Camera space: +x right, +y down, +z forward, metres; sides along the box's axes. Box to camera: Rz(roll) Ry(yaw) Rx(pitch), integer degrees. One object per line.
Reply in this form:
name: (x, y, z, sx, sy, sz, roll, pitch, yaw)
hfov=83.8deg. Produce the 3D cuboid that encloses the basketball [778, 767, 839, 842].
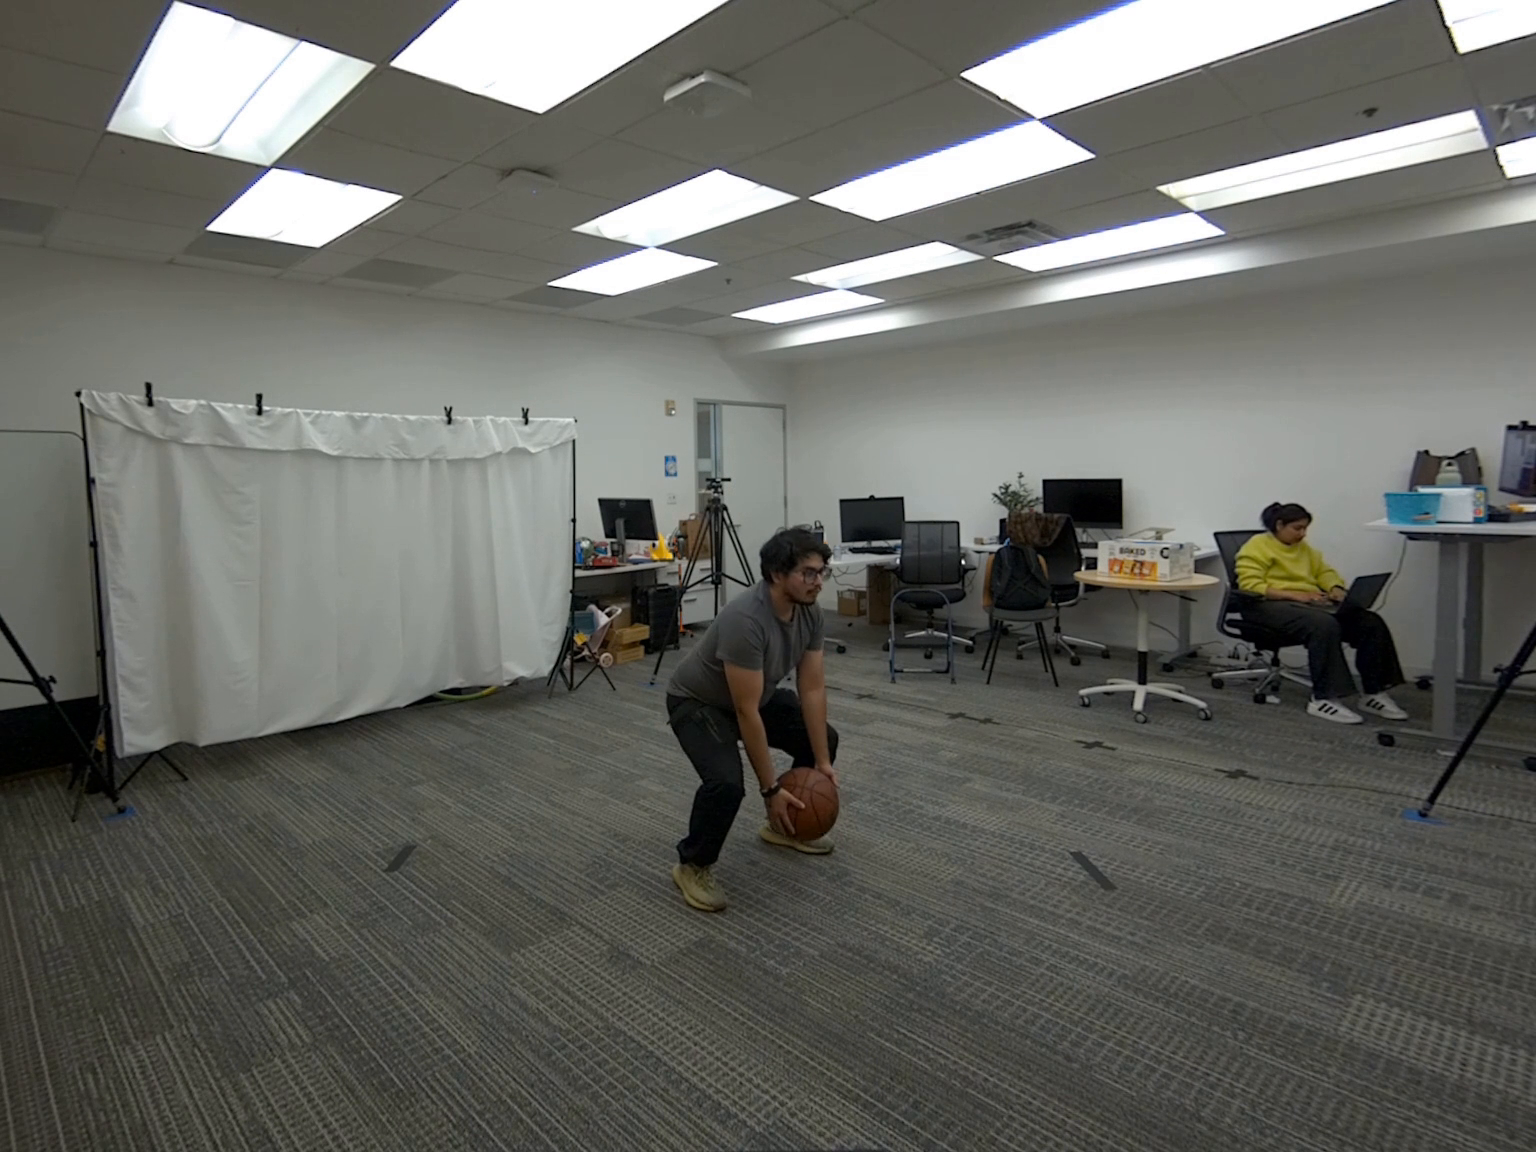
basketball: (0.117, 0.761, 2.871, 0.236, 0.235, 0.237, -1, 5, -2)
